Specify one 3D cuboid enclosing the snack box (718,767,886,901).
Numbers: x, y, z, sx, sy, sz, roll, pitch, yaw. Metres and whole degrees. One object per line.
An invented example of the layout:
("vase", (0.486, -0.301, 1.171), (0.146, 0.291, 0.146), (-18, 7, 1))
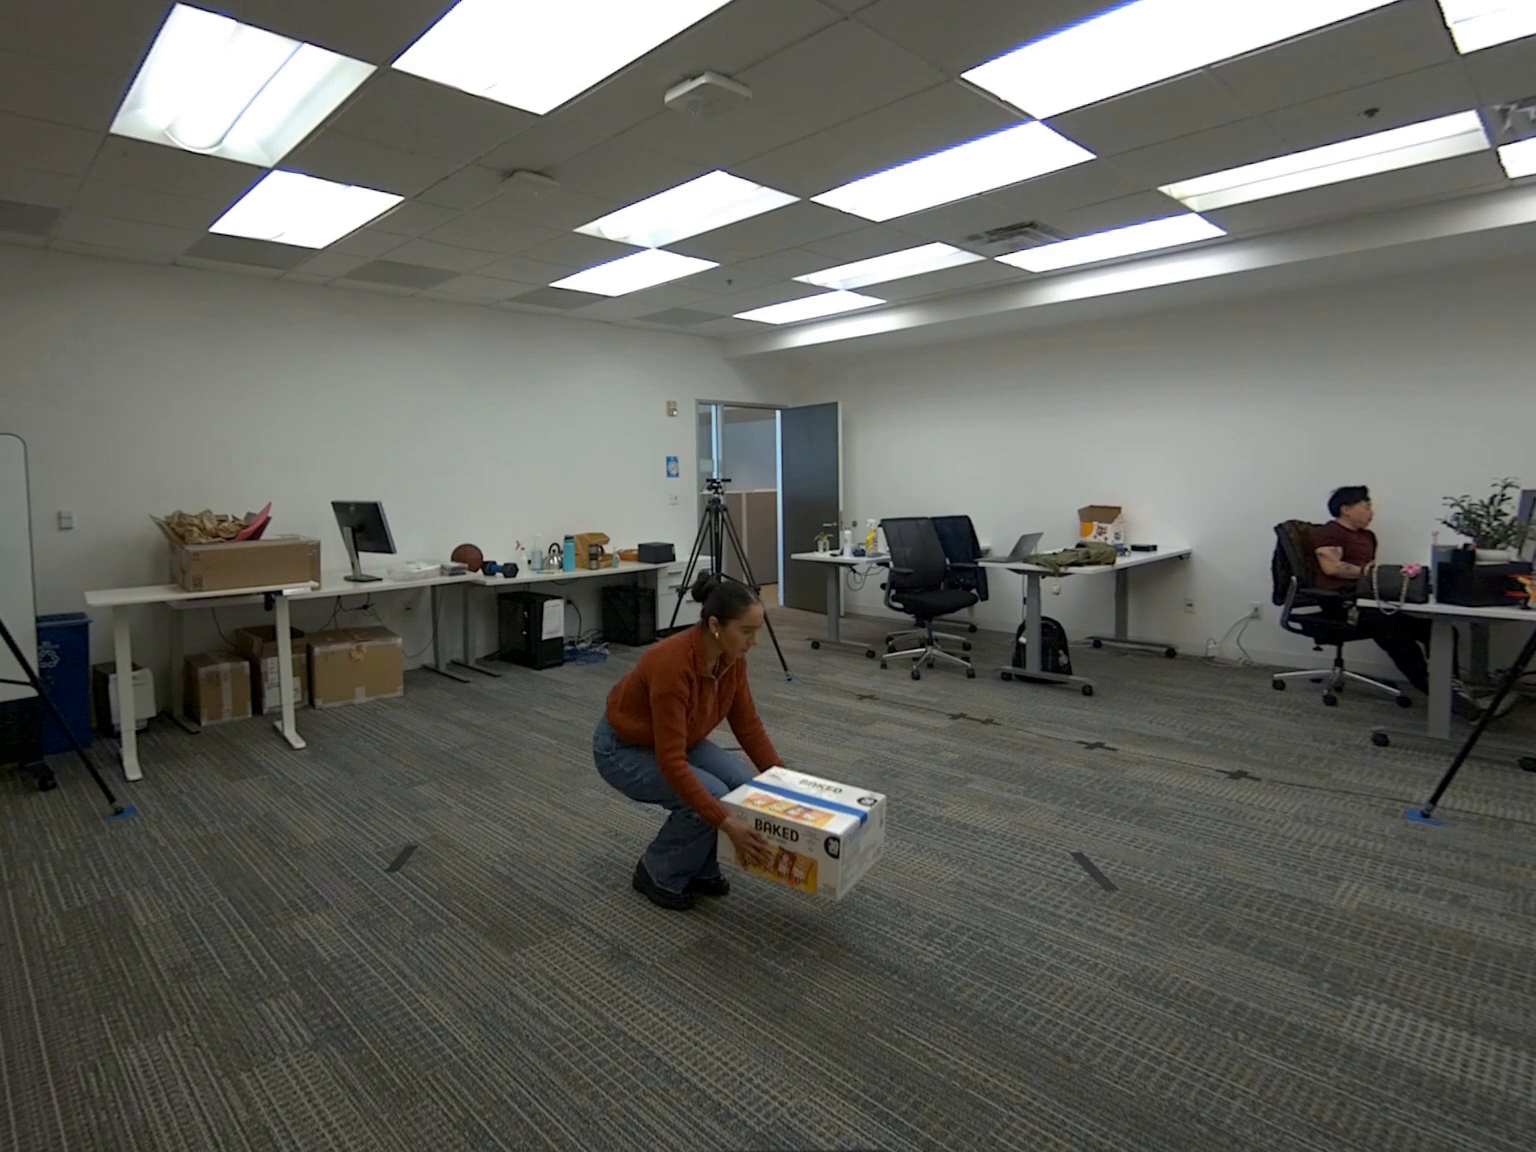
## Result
("snack box", (0.107, 0.776, 2.637), (0.417, 0.204, 0.333), (6, 9, 30))
